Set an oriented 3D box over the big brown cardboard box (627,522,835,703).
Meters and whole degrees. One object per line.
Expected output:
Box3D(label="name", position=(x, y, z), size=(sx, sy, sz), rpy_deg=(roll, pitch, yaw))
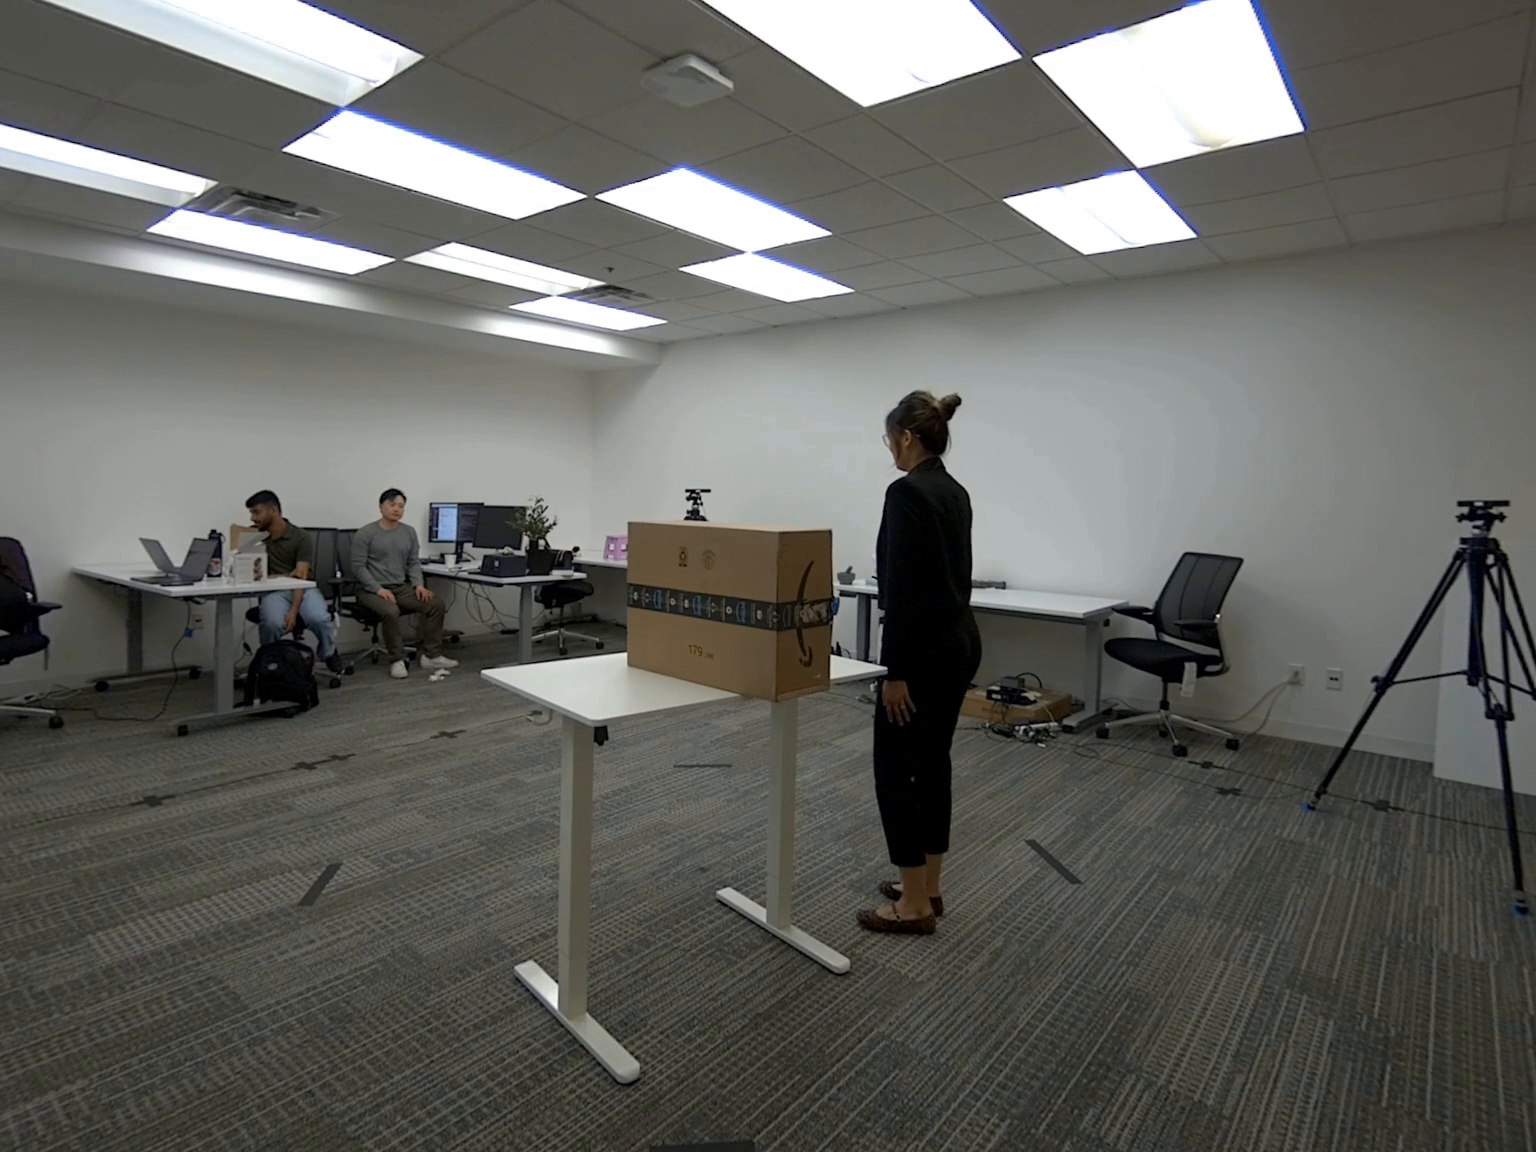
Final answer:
Box3D(label="big brown cardboard box", position=(-0.118, 0.065, 2.303), size=(0.609, 0.416, 0.226), rpy_deg=(6, 5, 42))
